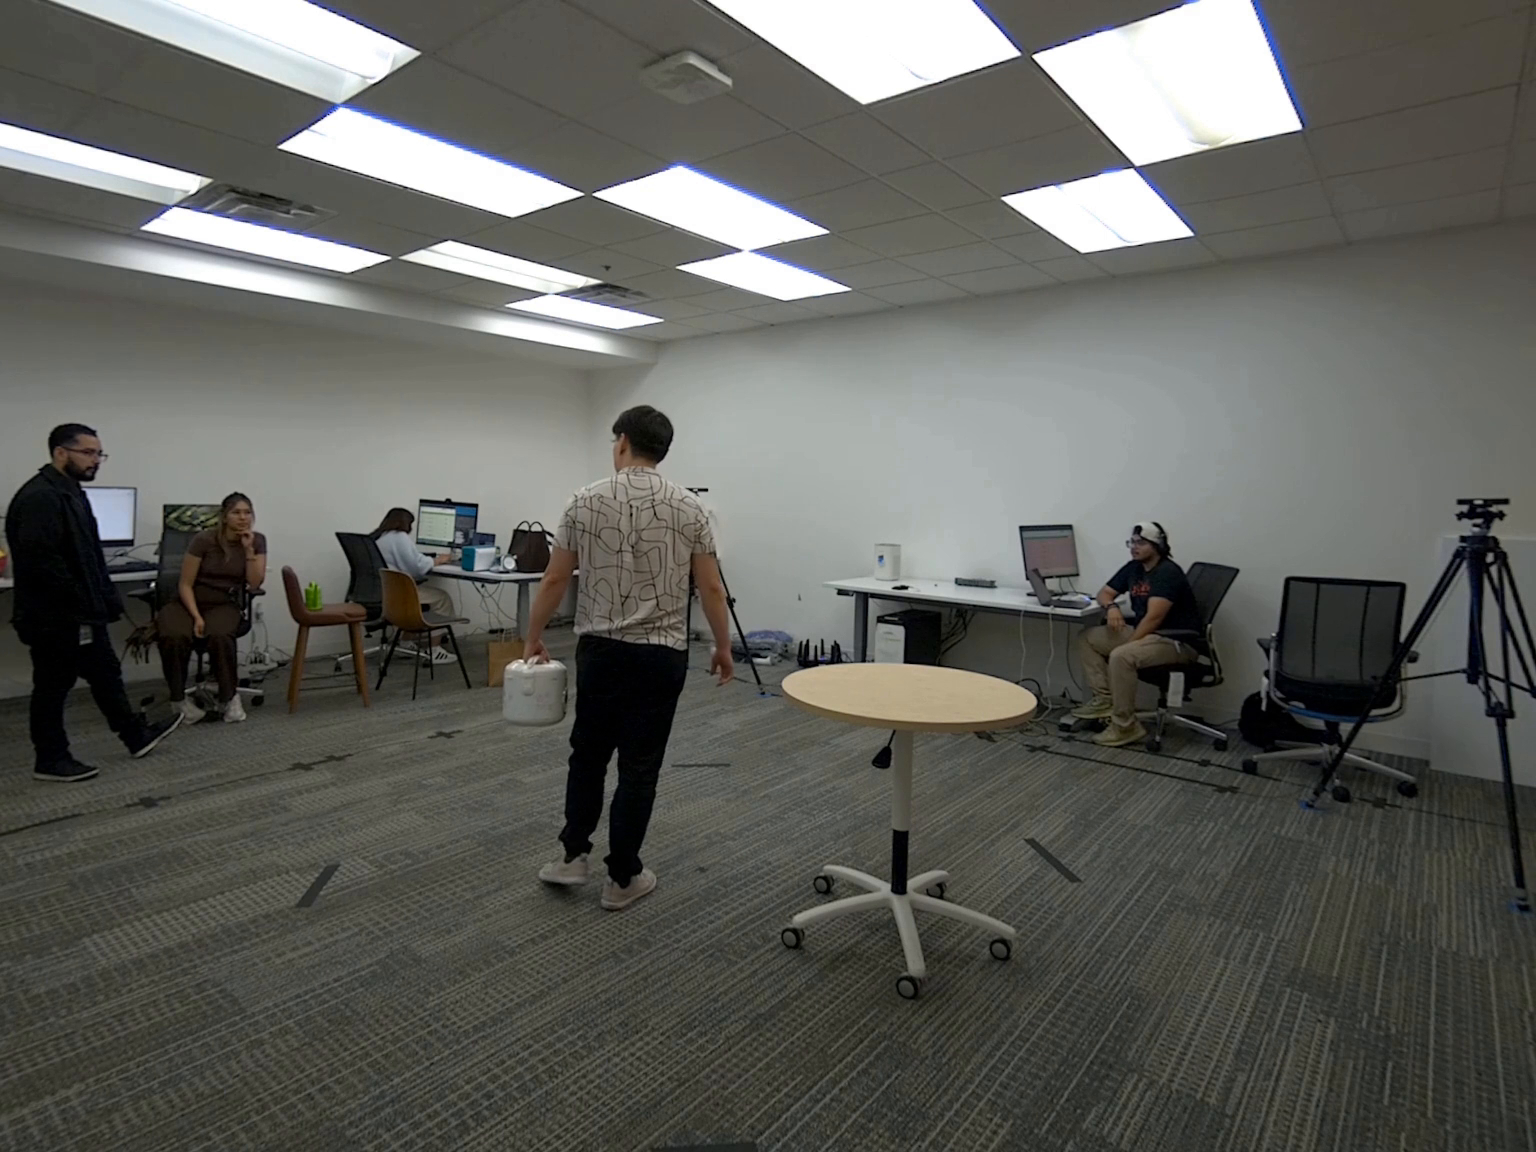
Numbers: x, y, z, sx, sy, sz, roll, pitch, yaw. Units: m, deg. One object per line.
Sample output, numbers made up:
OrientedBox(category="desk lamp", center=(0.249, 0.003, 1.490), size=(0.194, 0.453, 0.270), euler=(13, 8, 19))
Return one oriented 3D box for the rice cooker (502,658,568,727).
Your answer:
OrientedBox(category="rice cooker", center=(-0.811, 0.381, 2.914), size=(0.218, 0.233, 0.220), euler=(2, 0, 2))
